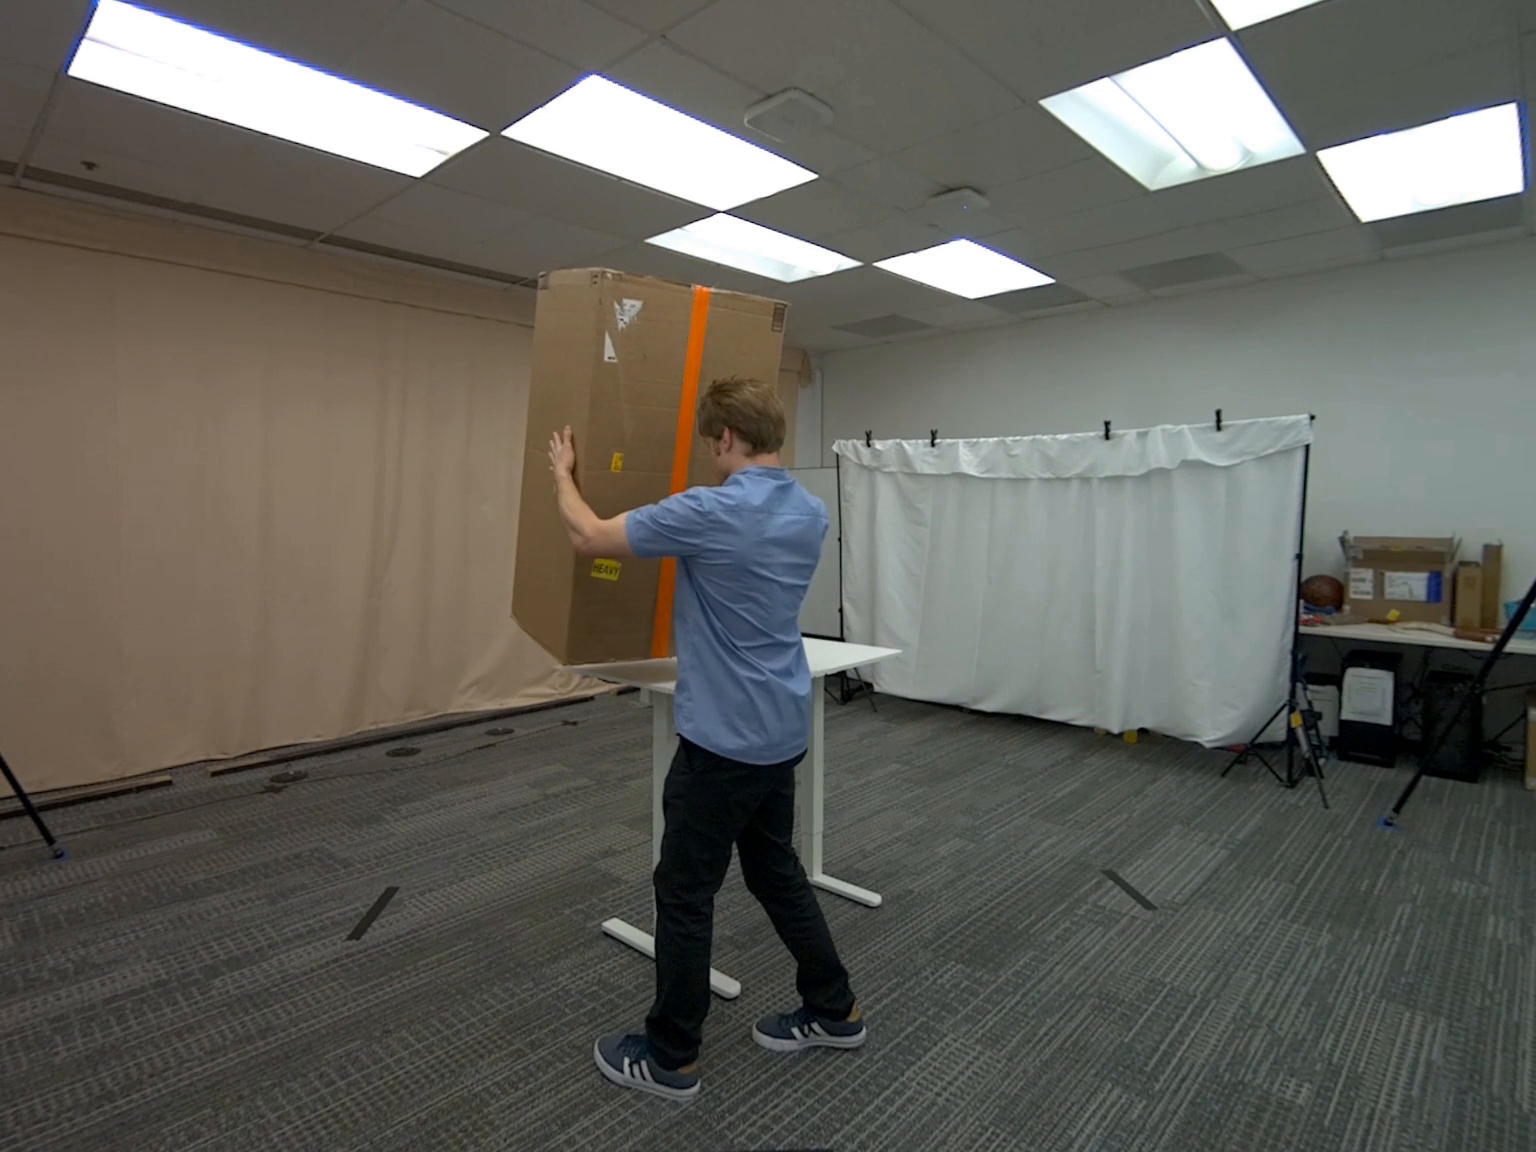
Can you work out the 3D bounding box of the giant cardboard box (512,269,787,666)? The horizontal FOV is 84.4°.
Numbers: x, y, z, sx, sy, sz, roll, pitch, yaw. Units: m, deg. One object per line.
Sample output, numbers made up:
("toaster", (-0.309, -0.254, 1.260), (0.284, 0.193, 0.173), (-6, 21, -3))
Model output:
("giant cardboard box", (-0.356, -0.312, 2.446), (0.560, 1.020, 0.441), (-1, 14, -35))
